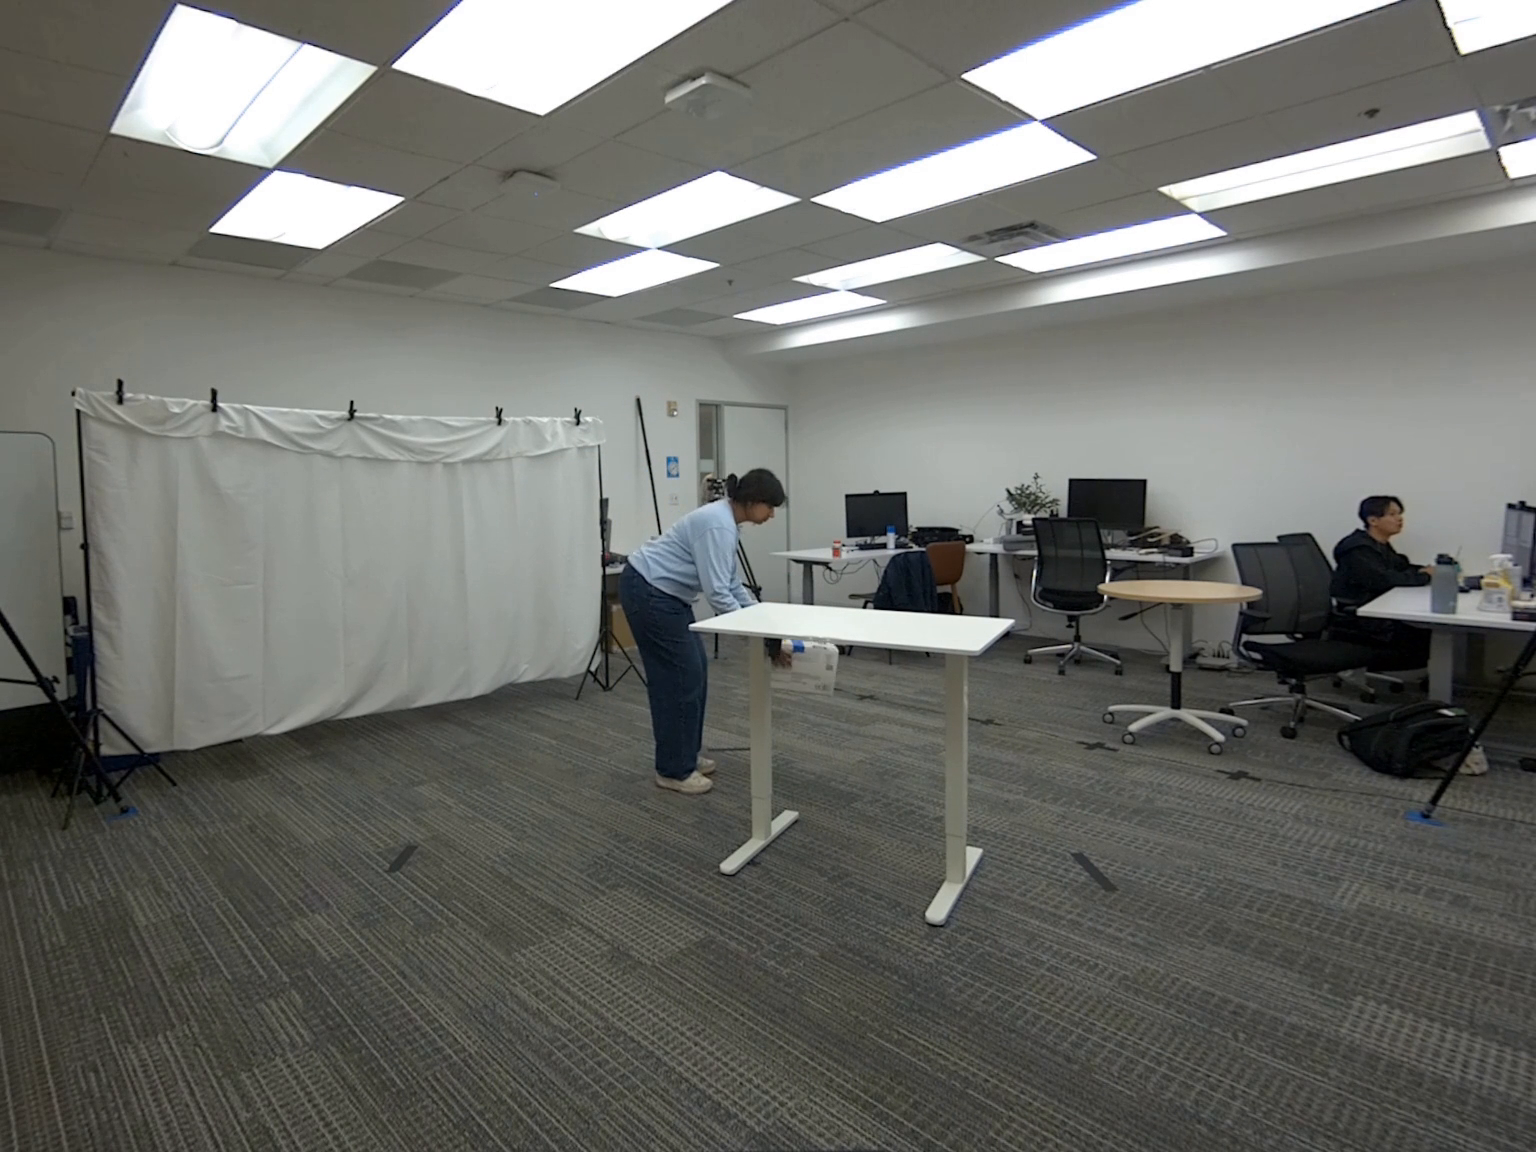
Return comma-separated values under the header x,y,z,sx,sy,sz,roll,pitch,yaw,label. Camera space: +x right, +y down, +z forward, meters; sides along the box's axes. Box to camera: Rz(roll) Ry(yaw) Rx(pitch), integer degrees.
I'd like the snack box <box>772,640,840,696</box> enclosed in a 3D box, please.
x,y,z,sx,sy,sz,roll,pitch,yaw,label
0.114,0.383,3.923,0.340,0.205,0.407,6,5,-3,snack box
